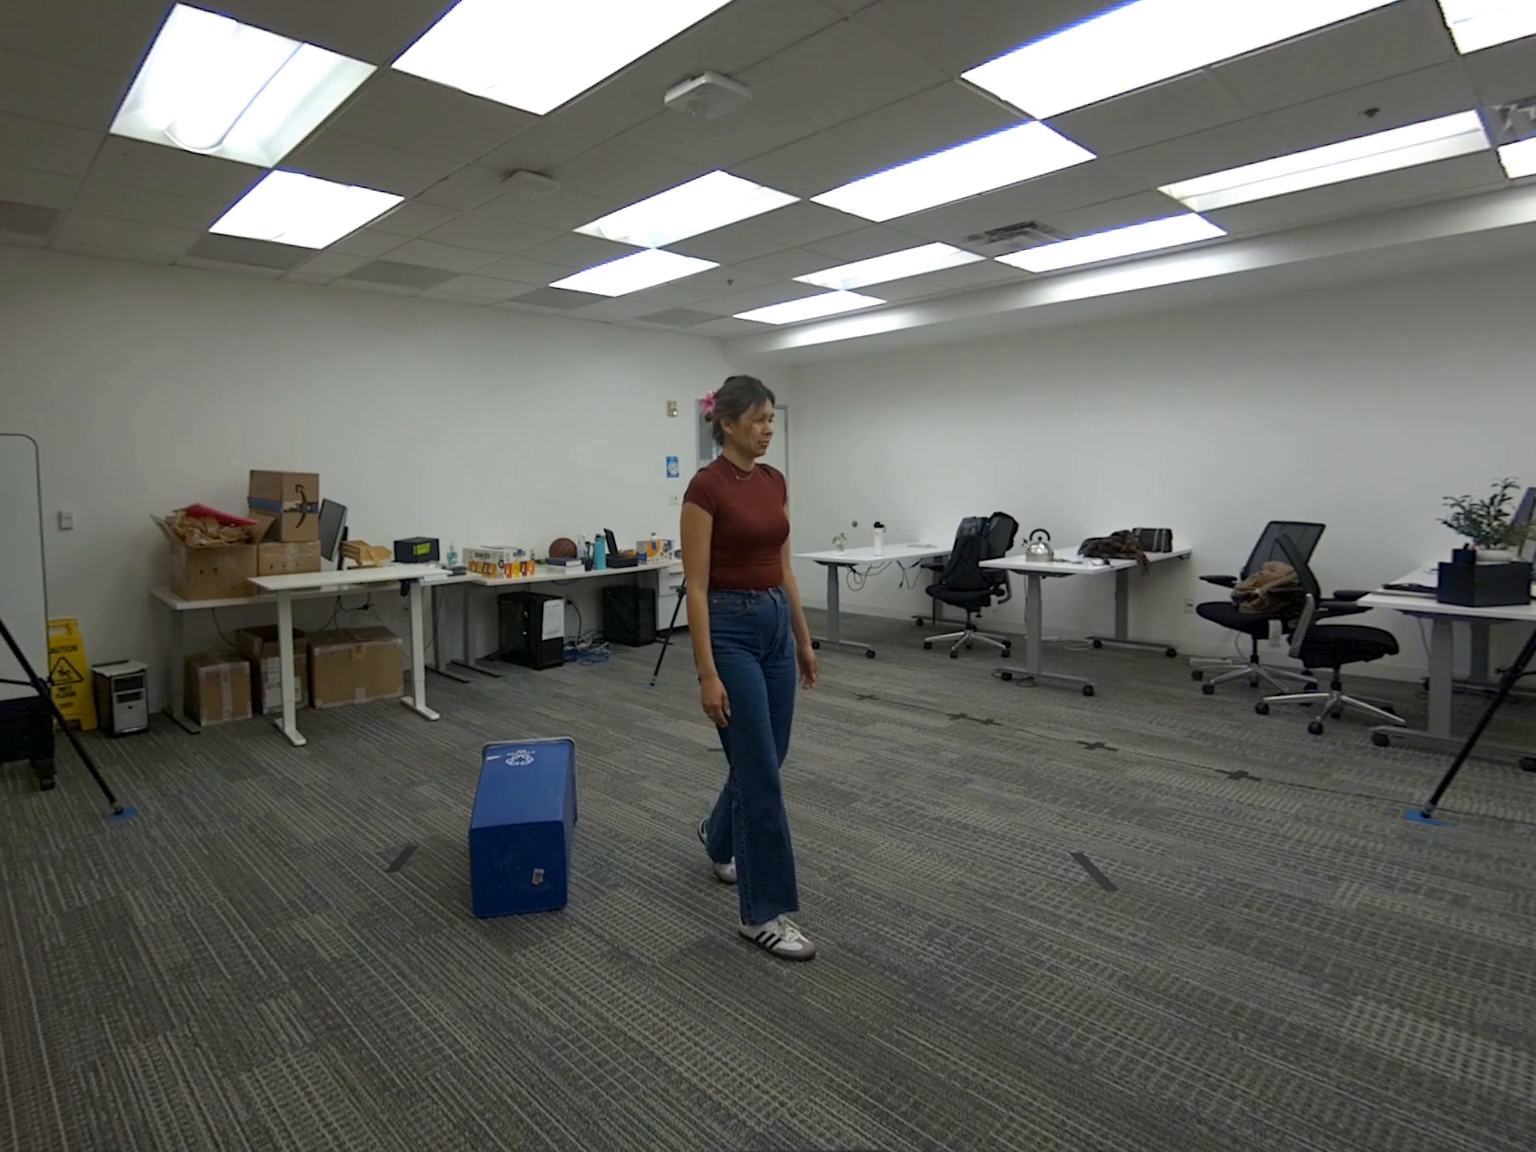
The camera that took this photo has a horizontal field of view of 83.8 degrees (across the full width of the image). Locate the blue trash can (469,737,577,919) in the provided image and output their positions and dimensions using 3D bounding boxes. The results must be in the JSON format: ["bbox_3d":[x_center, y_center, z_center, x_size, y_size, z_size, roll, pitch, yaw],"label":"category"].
[{"bbox_3d":[-0.873,0.891,3.104,0.370,0.375,0.726,-2,8,-13],"label":"blue trash can"}]
